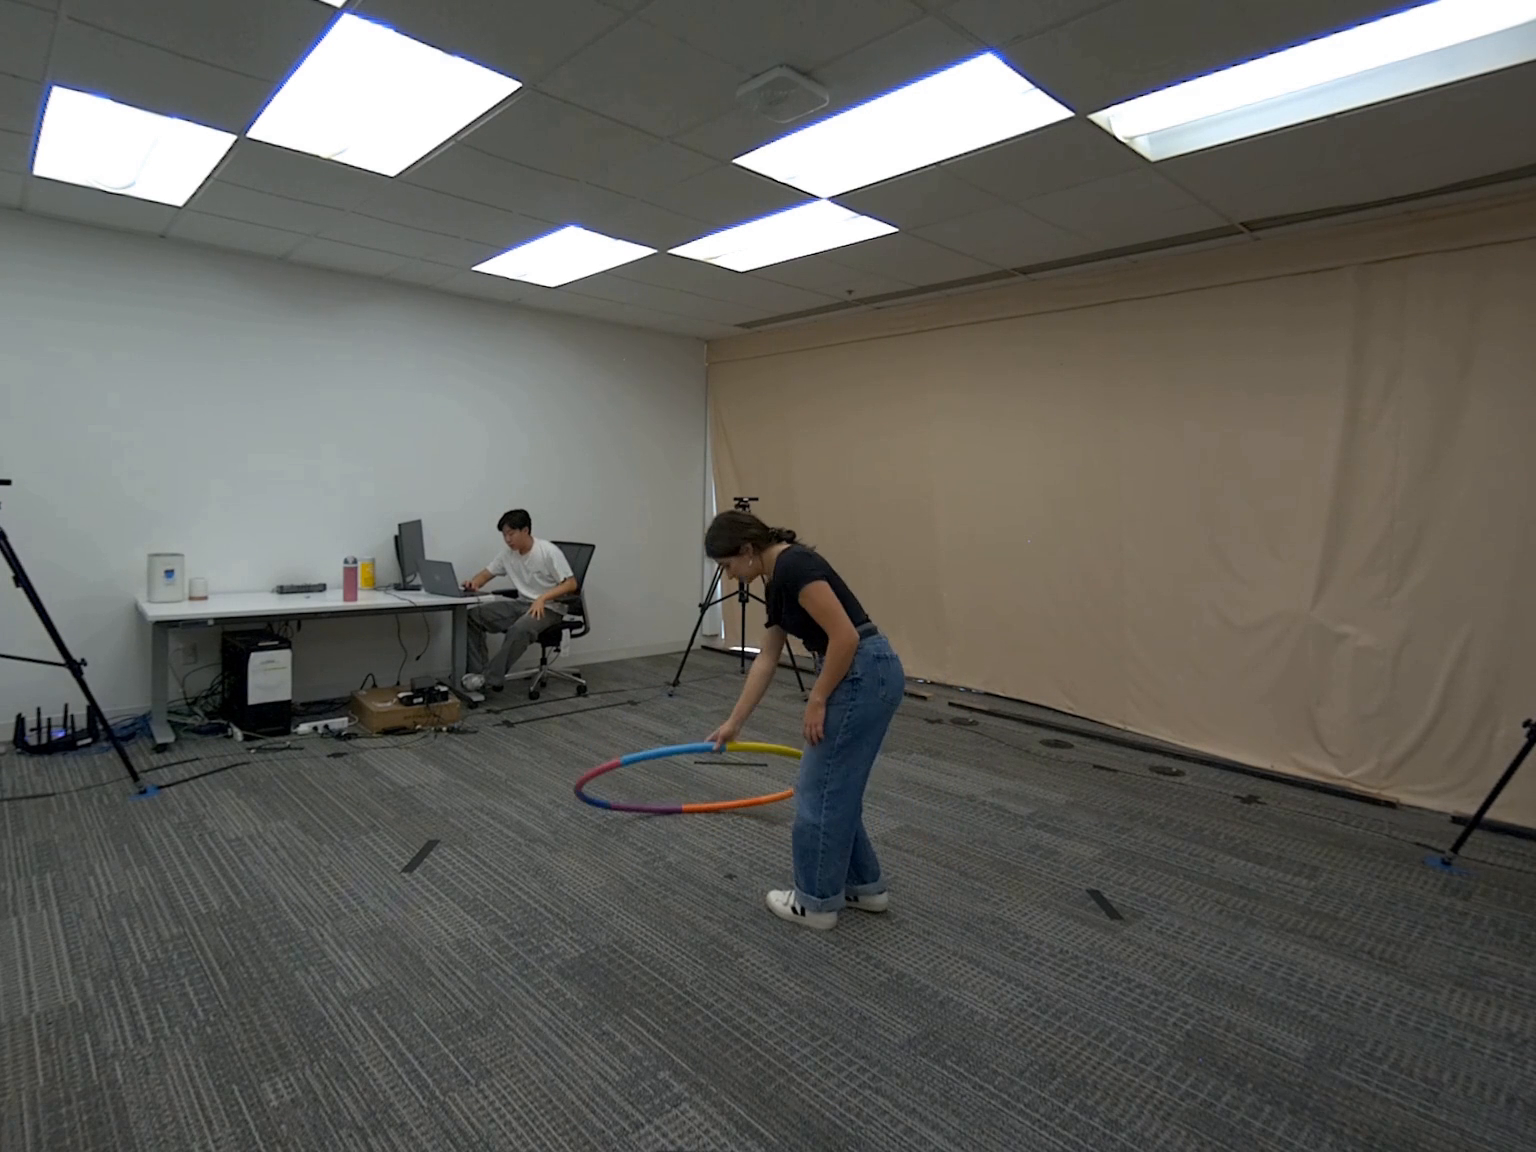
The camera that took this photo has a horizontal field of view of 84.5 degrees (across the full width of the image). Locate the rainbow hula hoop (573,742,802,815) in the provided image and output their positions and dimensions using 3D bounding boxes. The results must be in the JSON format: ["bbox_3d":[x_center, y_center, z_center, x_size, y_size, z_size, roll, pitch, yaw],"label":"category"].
[{"bbox_3d":[-0.270,0.815,3.322,0.977,0.036,0.961,-3,-27,-3],"label":"rainbow hula hoop"}]
